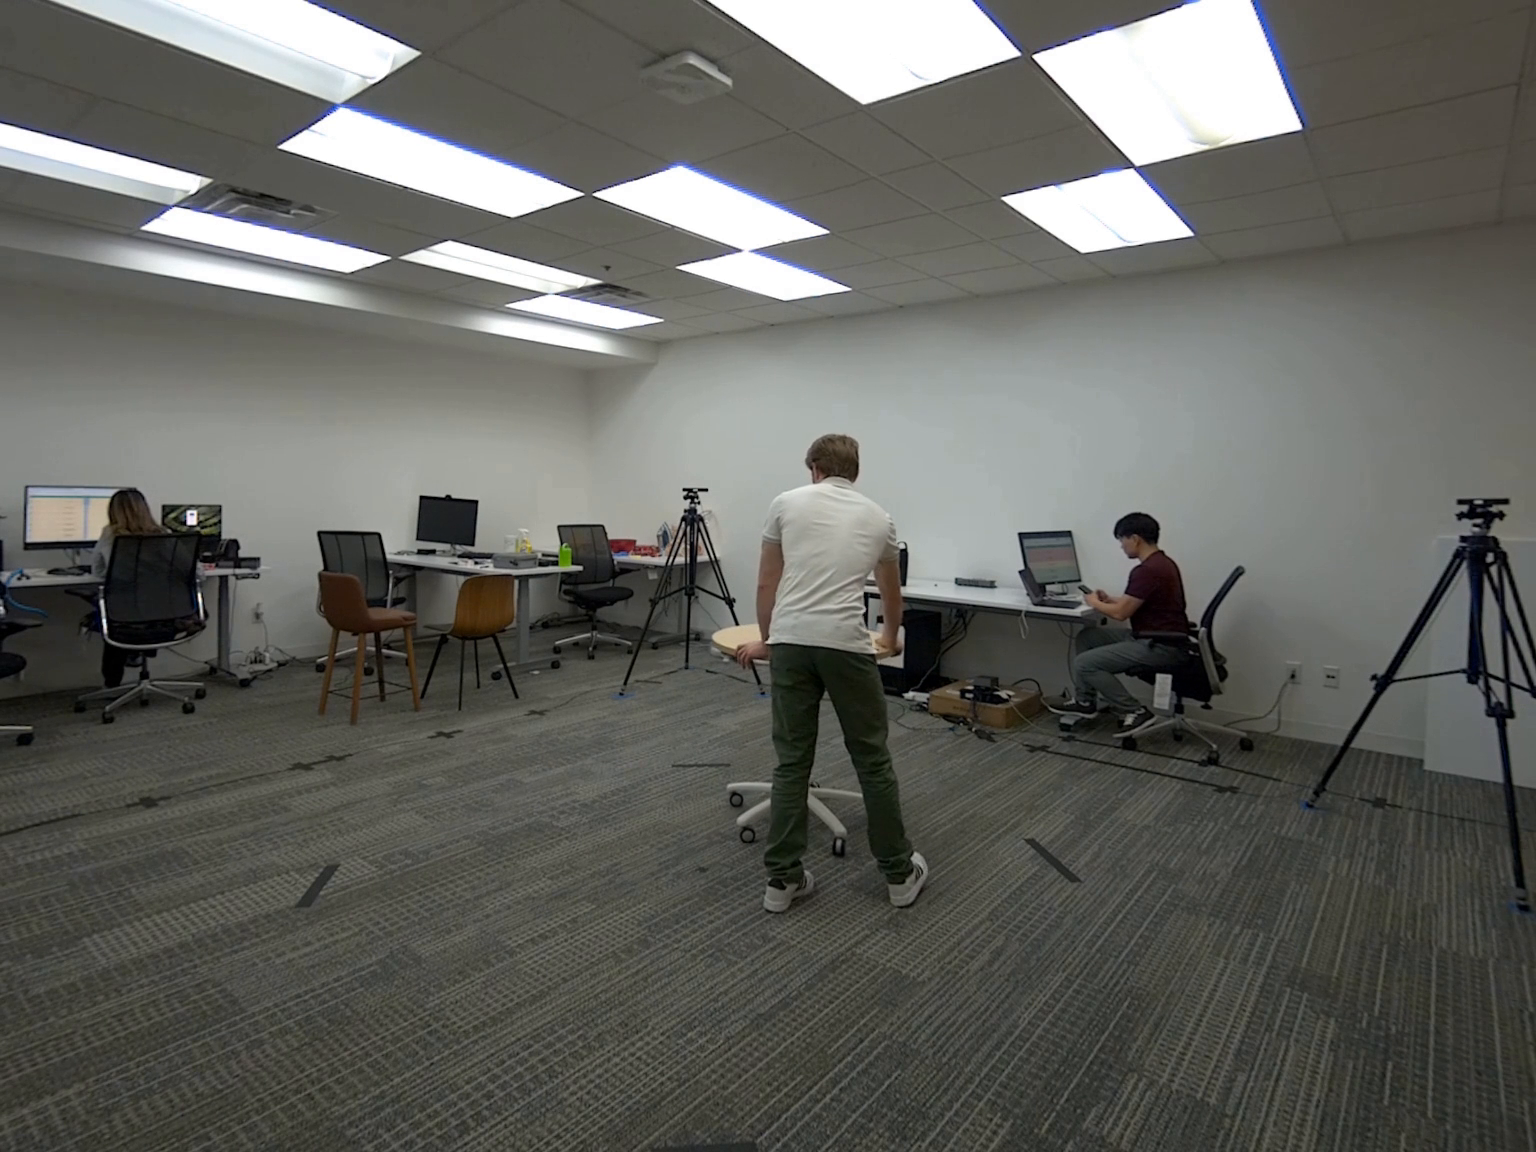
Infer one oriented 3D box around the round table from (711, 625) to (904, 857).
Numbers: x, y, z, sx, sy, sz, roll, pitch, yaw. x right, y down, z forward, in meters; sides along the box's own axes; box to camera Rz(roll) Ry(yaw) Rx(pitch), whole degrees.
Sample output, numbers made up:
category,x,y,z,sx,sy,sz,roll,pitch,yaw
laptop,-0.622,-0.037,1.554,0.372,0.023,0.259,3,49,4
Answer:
category,x,y,z,sx,sy,sz,roll,pitch,yaw
round table,0.130,0.644,3.570,0.763,0.791,0.768,1,4,-2
